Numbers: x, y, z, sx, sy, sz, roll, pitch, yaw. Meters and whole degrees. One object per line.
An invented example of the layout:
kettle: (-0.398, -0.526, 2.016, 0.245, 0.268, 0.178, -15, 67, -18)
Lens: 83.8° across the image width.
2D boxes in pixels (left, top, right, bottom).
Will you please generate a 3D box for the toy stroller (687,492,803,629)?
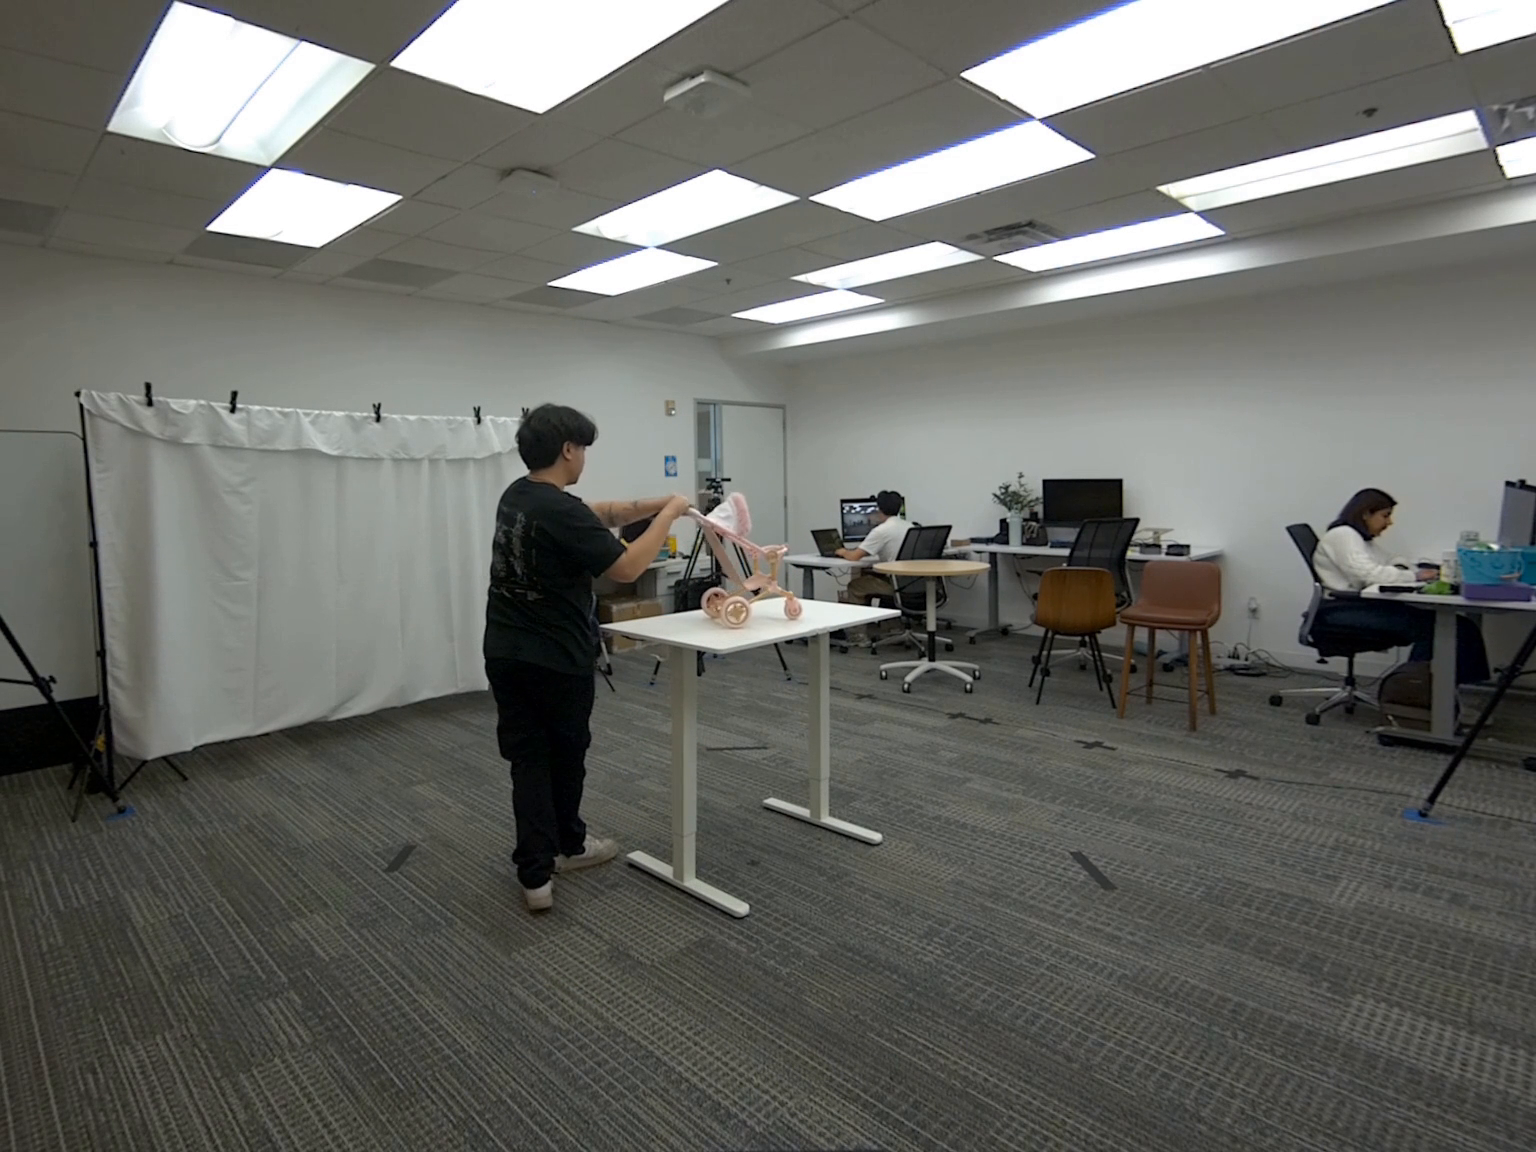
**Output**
toy stroller: (-0.091, -0.057, 3.038, 0.339, 0.530, 0.286, -16, 8, -12)
